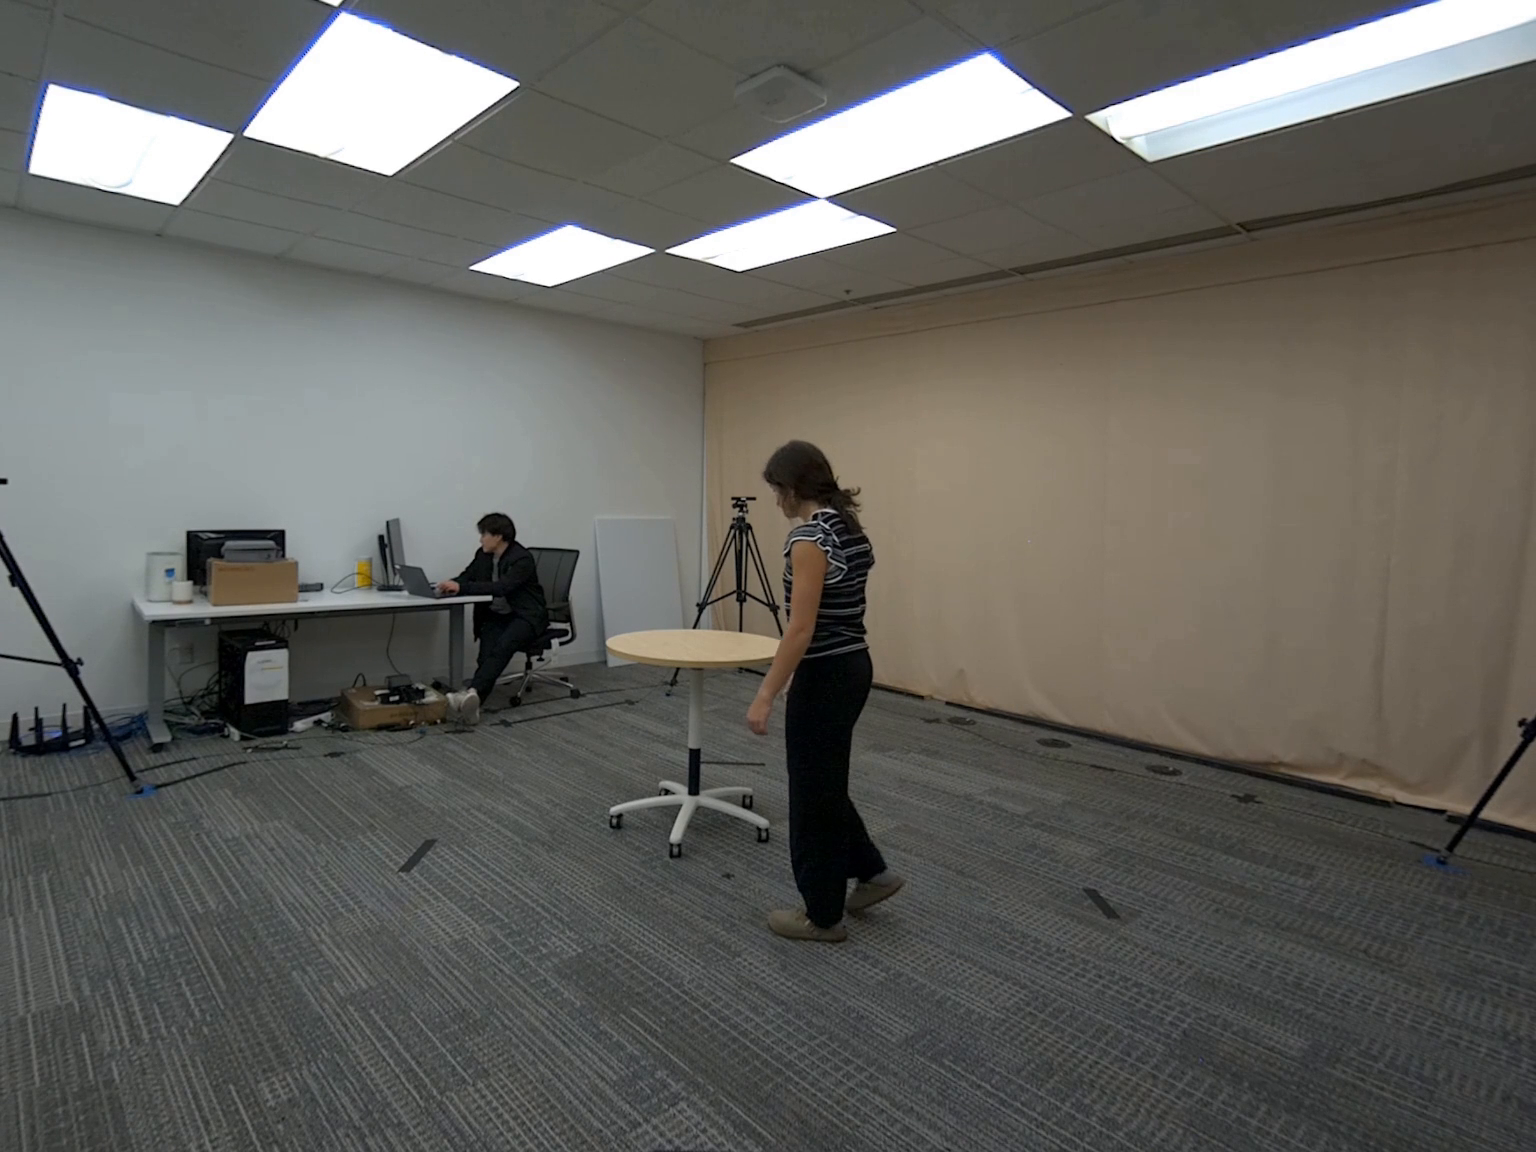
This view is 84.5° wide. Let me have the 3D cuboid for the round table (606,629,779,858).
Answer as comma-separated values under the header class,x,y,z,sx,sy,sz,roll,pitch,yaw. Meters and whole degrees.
class,x,y,z,sx,sy,sz,roll,pitch,yaw
round table,-0.319,0.677,3.548,0.763,0.792,0.766,2,4,-2
